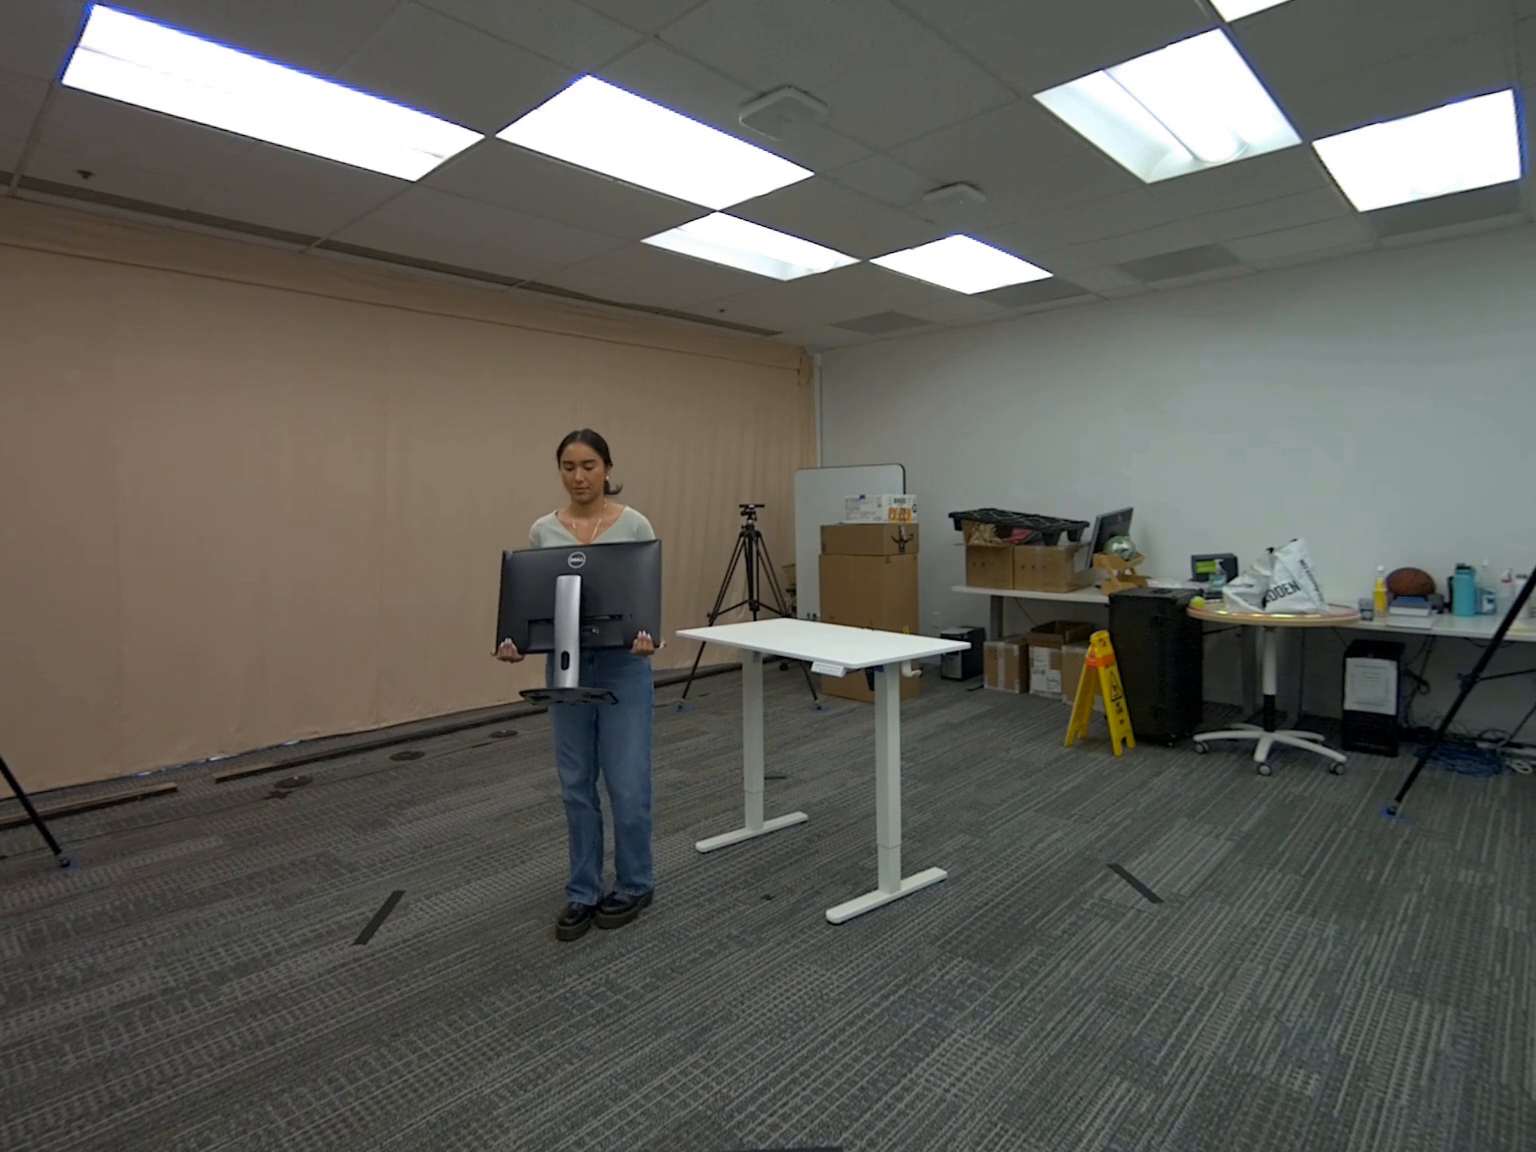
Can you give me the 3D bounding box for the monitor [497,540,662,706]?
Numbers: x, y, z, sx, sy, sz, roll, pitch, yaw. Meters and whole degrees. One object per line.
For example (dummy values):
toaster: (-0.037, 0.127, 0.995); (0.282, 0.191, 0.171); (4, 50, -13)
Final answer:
monitor: (-0.599, 0.136, 2.628); (0.542, 0.530, 0.183); (-3, -24, 5)
